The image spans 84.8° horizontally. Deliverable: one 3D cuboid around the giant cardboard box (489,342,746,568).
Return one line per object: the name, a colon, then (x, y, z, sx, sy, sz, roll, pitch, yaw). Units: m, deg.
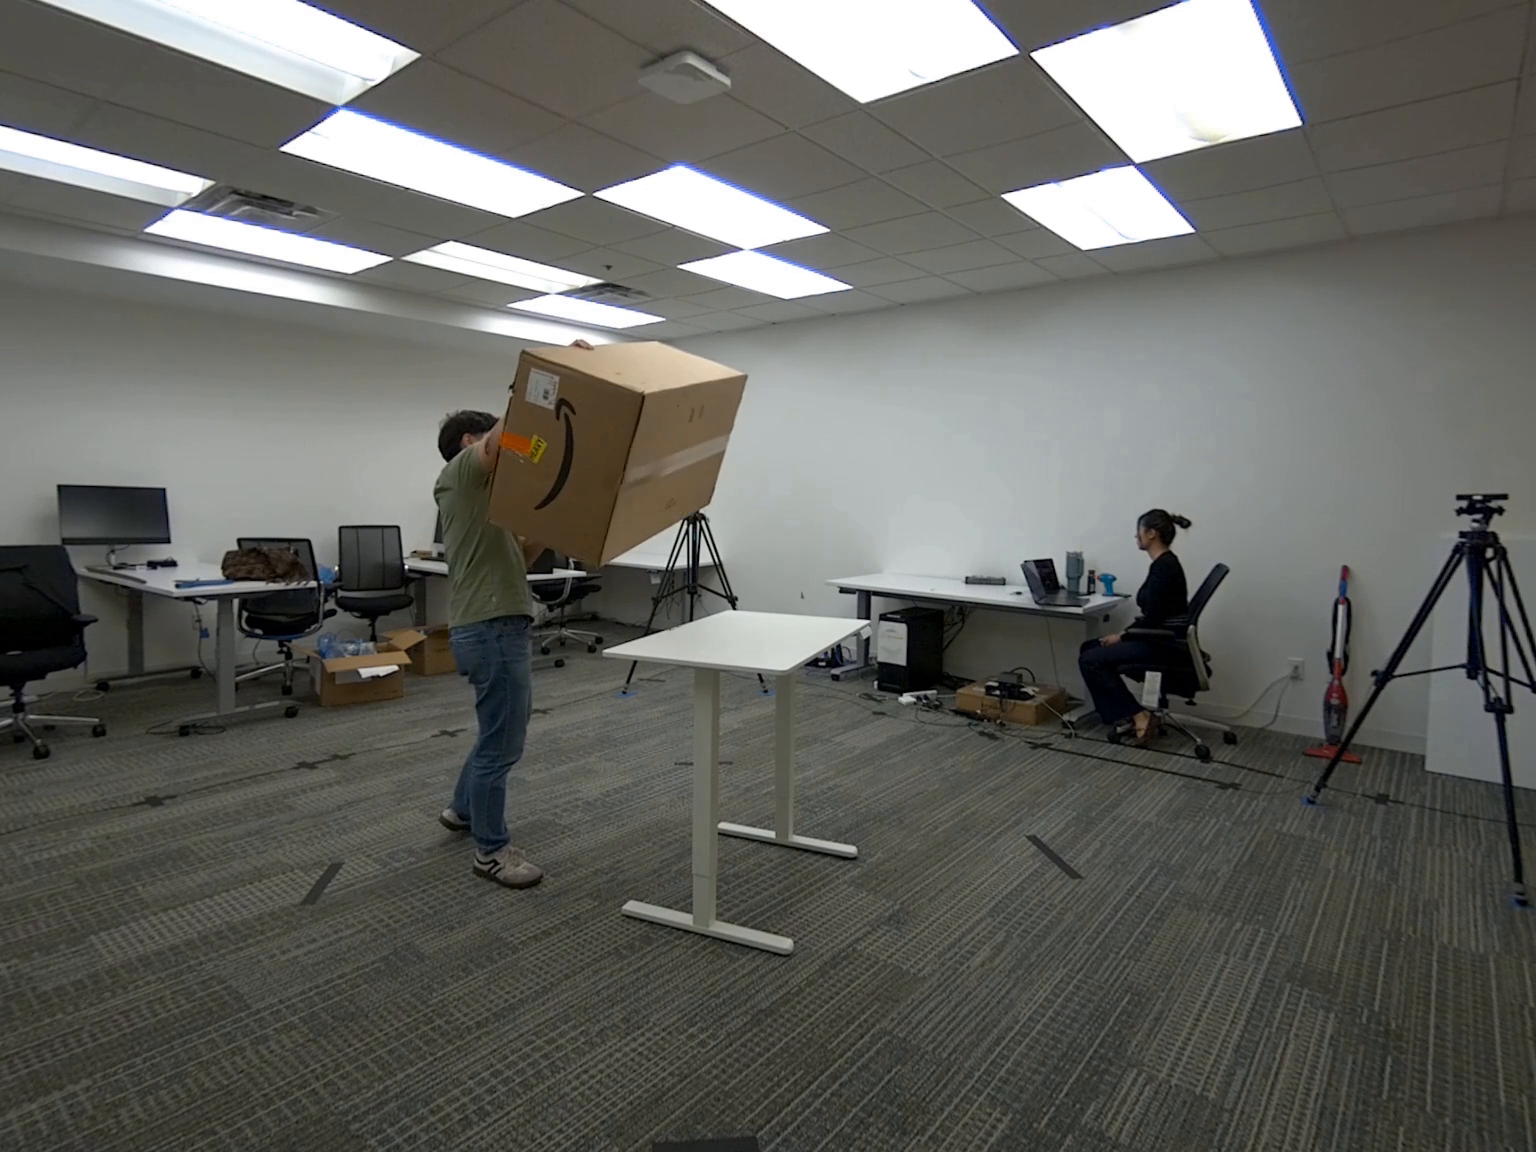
giant cardboard box: (-0.511, -0.489, 3.064, 0.434, 0.571, 1.020, 22, 21, 11)
